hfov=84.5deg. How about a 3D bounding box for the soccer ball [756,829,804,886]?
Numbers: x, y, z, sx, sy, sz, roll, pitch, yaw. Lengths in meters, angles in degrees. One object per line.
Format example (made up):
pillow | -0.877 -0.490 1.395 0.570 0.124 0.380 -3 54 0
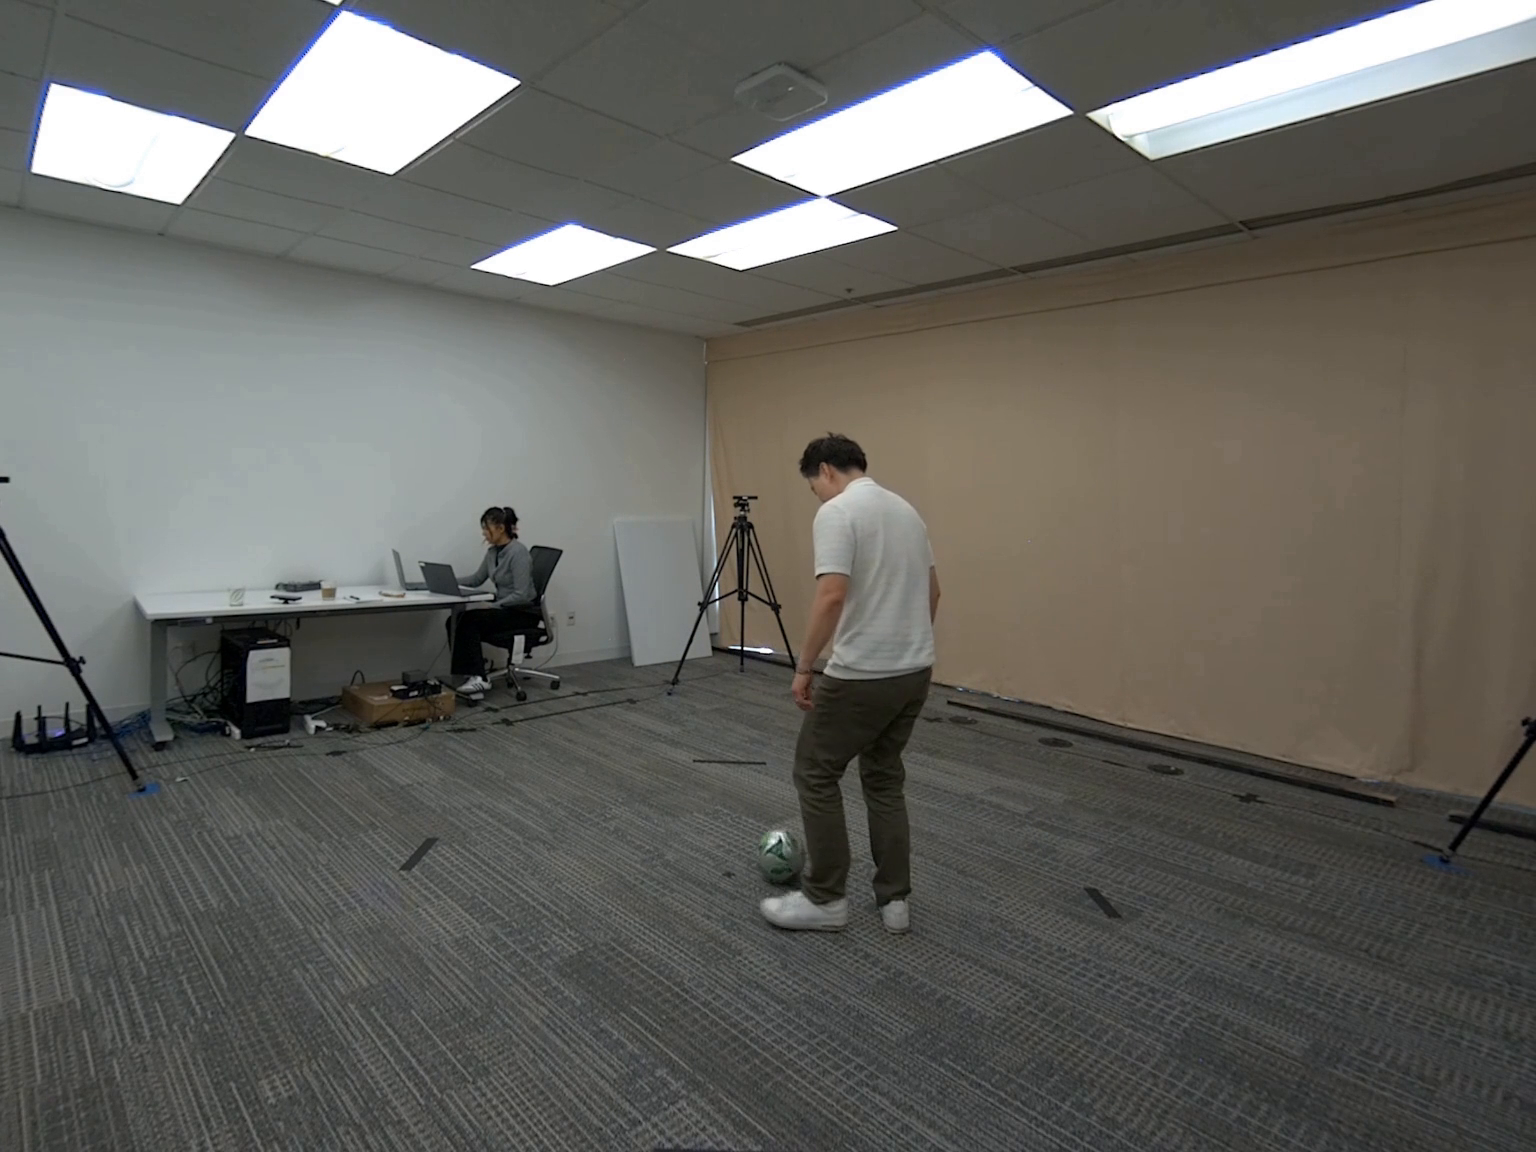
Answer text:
soccer ball | 0.036 1.013 3.059 0.187 0.187 0.188 1 4 -1
